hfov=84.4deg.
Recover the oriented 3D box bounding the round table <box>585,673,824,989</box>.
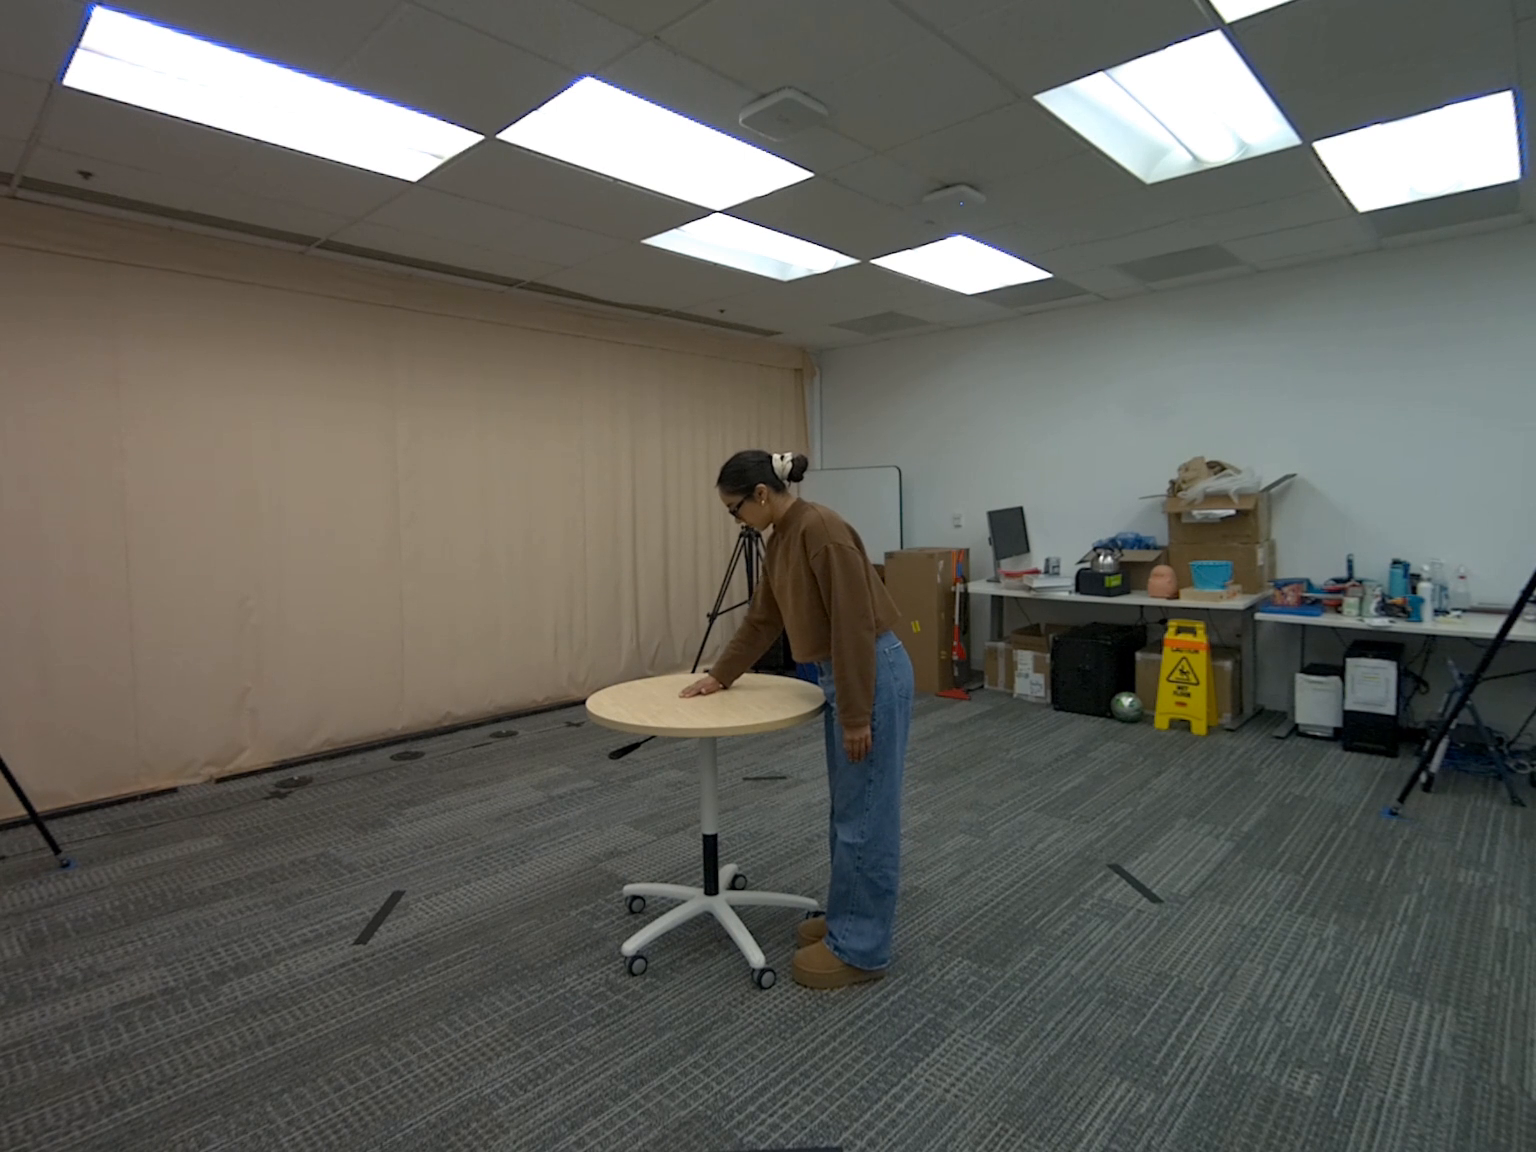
[{"bbox_3d":[-0.189,0.781,2.710,0.763,0.792,0.767,-2,4,-2],"label":"round table"}]
